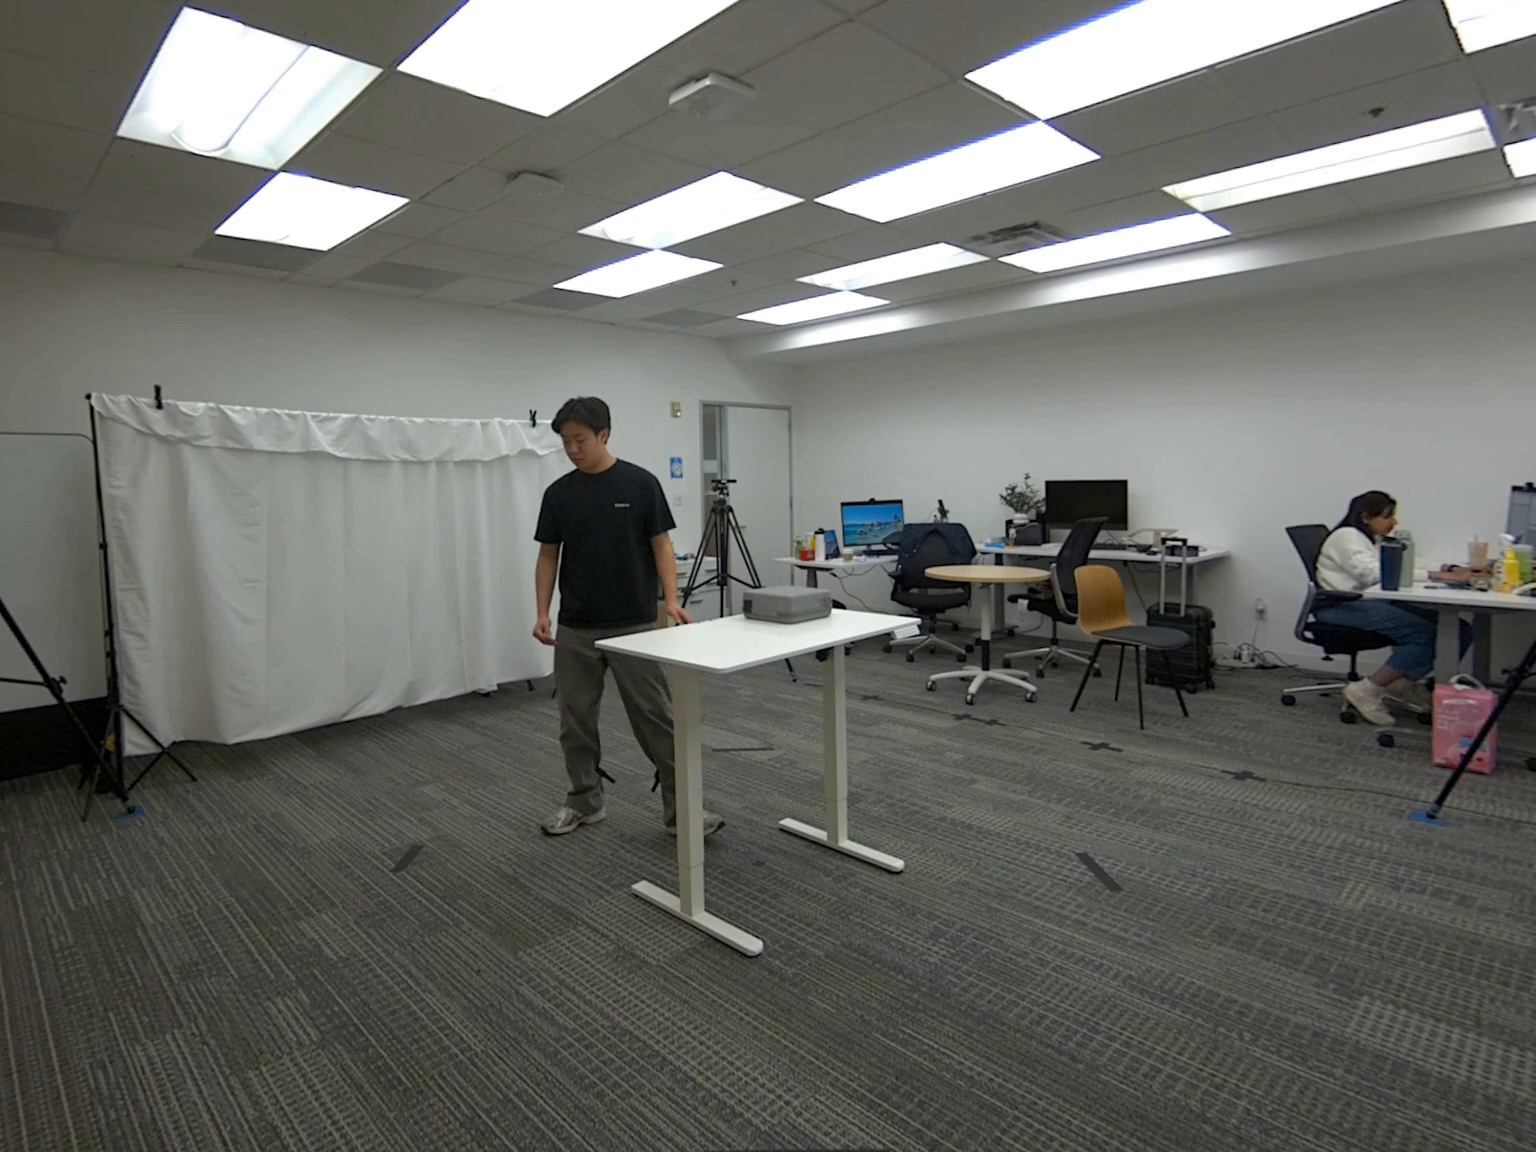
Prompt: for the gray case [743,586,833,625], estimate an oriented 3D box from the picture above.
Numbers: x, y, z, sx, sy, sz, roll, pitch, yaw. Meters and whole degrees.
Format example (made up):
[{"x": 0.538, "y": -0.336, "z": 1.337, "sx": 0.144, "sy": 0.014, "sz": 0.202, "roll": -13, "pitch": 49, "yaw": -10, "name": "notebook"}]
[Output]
[{"x": 0.078, "y": 0.102, "z": 3.163, "sx": 0.265, "sy": 0.104, "sz": 0.254, "roll": 3, "pitch": 8, "yaw": 44, "name": "gray case"}]
